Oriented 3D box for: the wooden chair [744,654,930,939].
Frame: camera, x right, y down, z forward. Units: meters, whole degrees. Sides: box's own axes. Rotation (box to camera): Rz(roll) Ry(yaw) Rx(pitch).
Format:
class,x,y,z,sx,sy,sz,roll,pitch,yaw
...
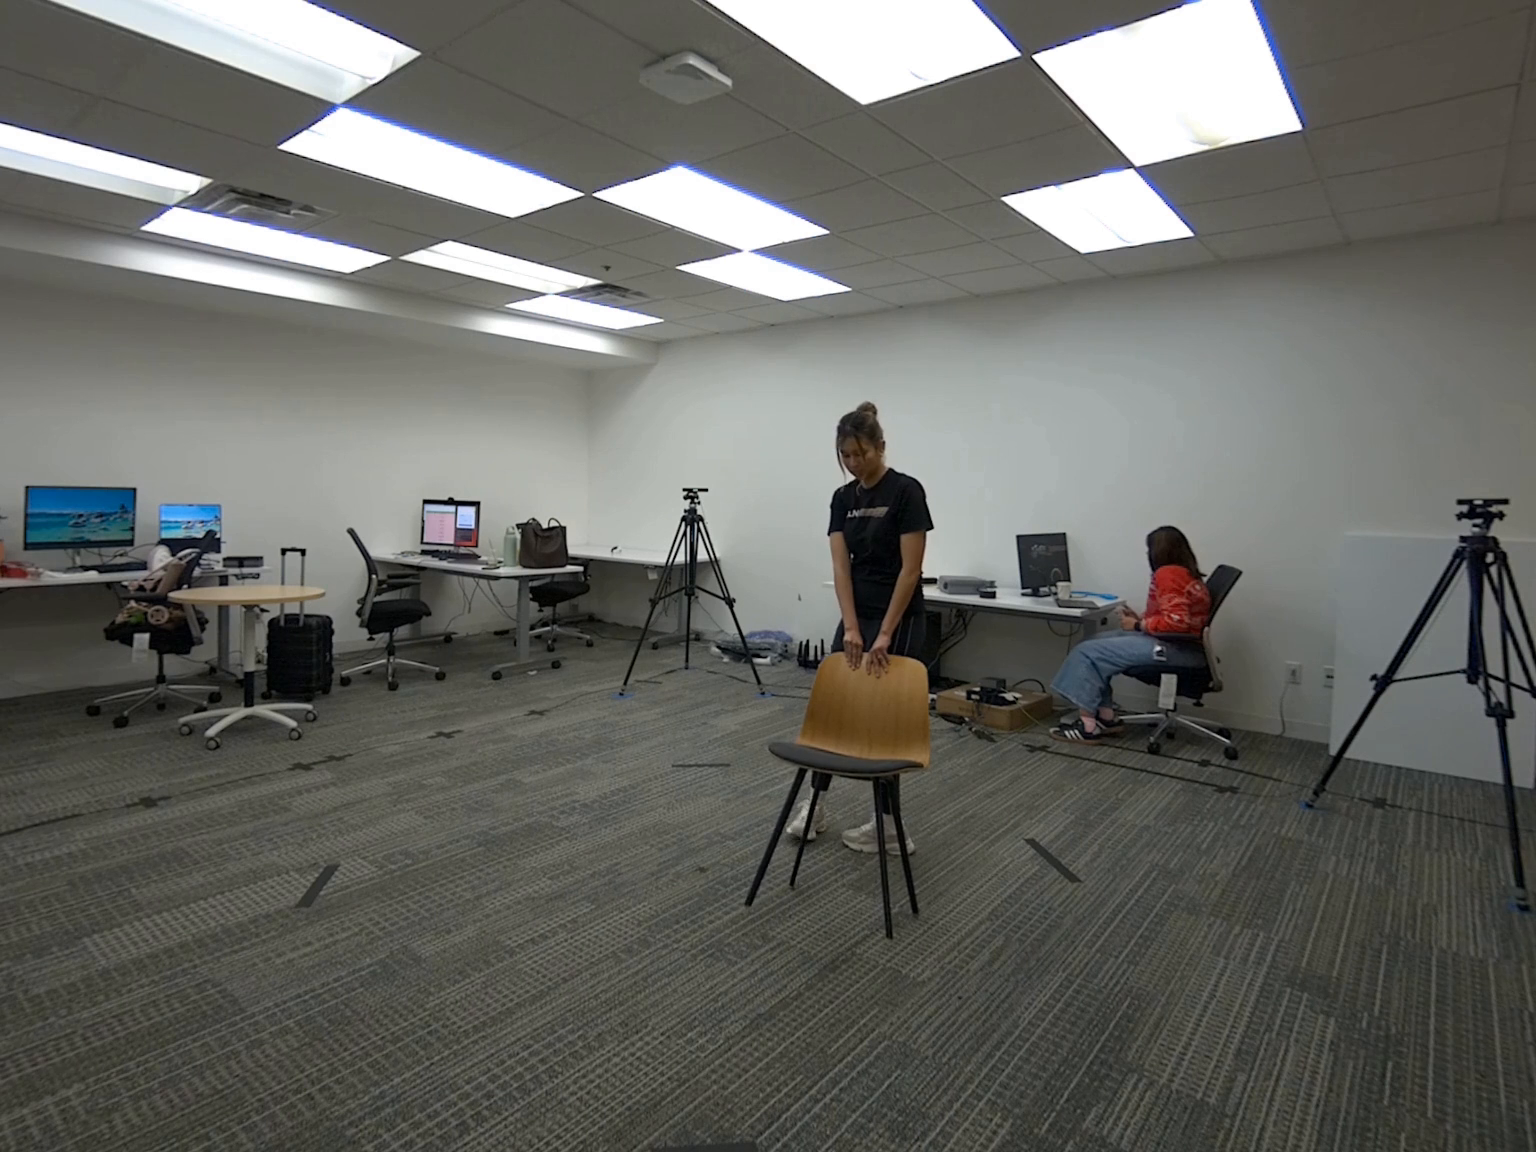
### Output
class,x,y,z,sx,sy,sz,roll,pitch,yaw
wooden chair,0.256,0.642,2.776,0.490,0.887,0.505,3,-16,22
